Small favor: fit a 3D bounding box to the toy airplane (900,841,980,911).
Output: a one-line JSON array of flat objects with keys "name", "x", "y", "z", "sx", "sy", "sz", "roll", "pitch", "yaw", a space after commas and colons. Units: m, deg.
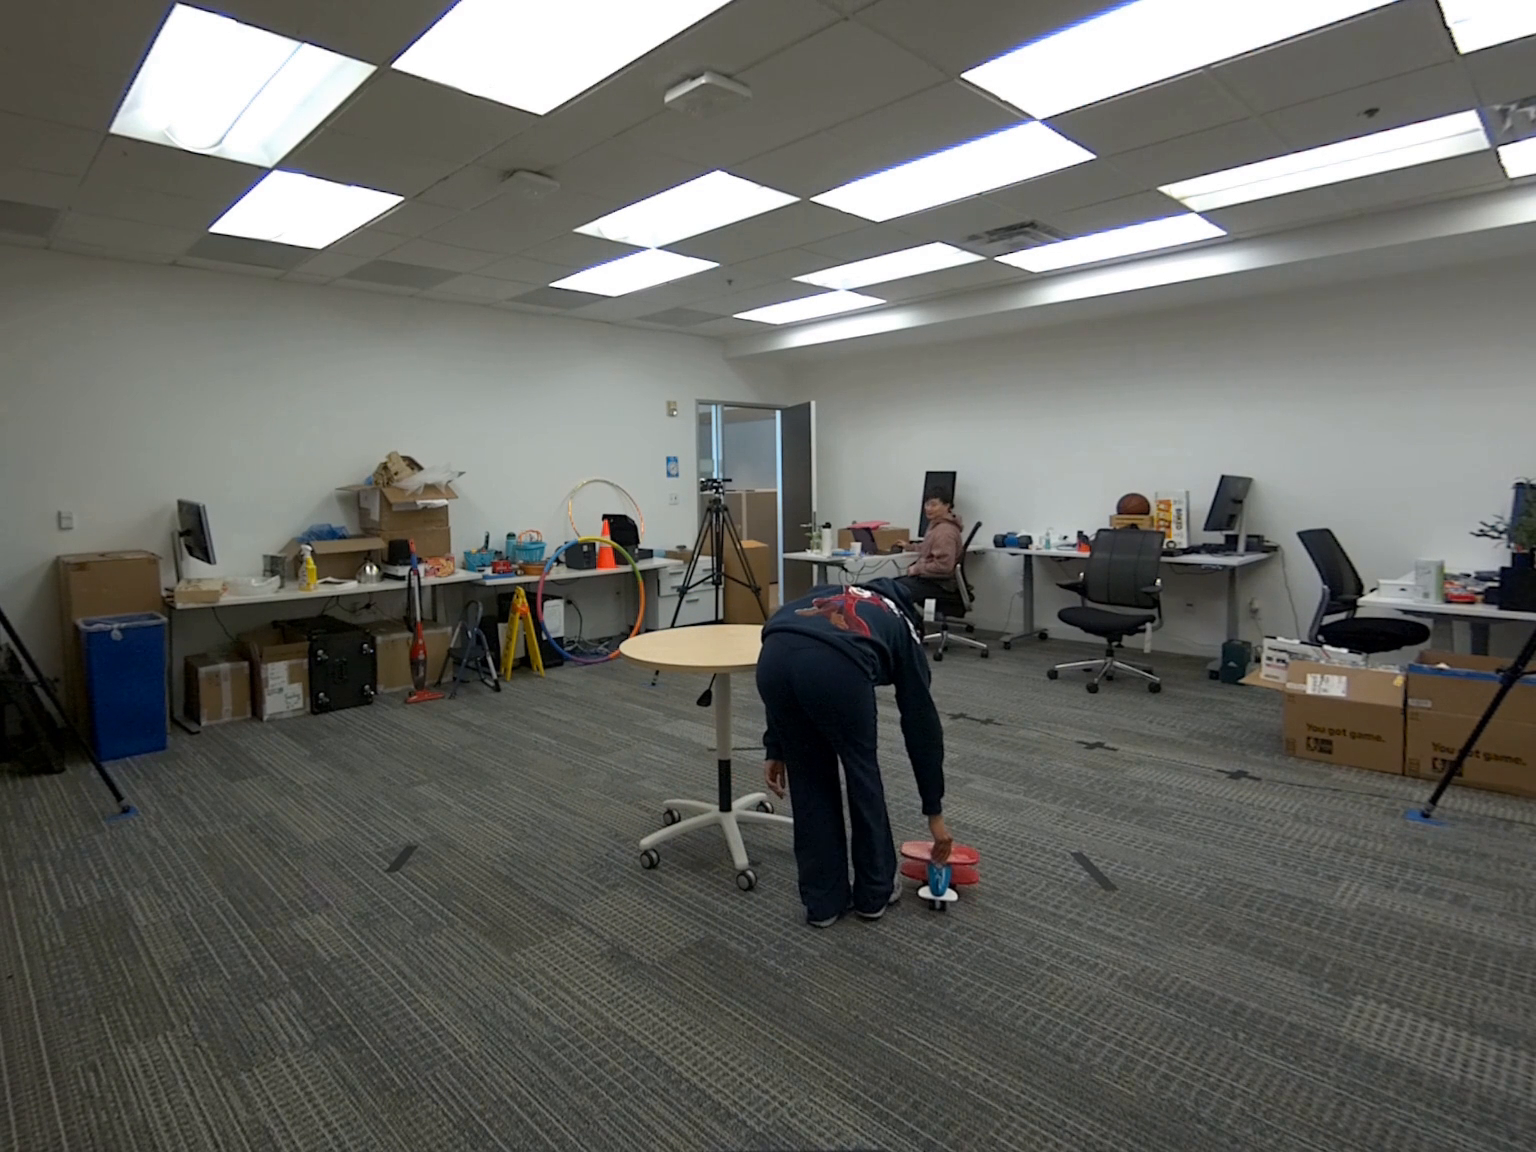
[{"name": "toy airplane", "x": 0.587, "y": 0.988, "z": 2.829, "sx": 0.248, "sy": 0.156, "sz": 0.263, "roll": -1, "pitch": 5, "yaw": -14}]
